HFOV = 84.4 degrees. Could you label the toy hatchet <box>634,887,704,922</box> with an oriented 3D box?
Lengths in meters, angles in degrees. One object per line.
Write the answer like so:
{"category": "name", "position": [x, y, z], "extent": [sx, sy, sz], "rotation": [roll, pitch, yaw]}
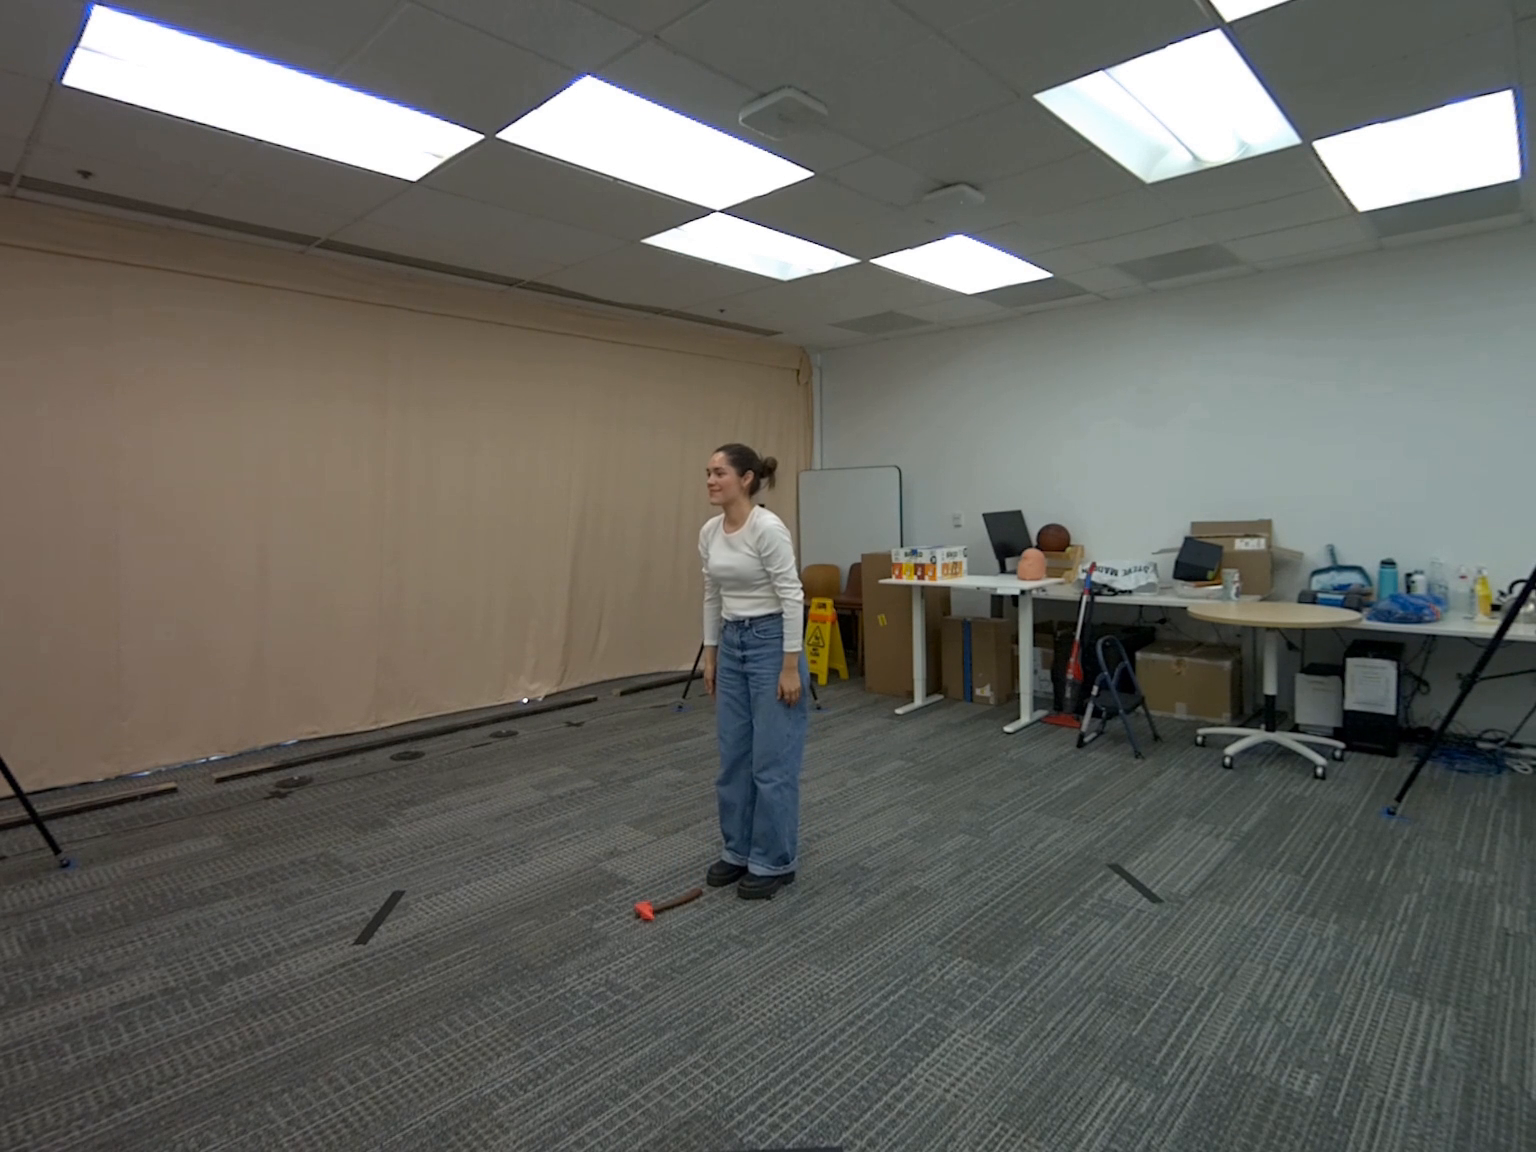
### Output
{"category": "toy hatchet", "position": [-0.362, 1.141, 2.946], "extent": [0.135, 0.029, 0.262], "rotation": [-1, 1, 39]}
